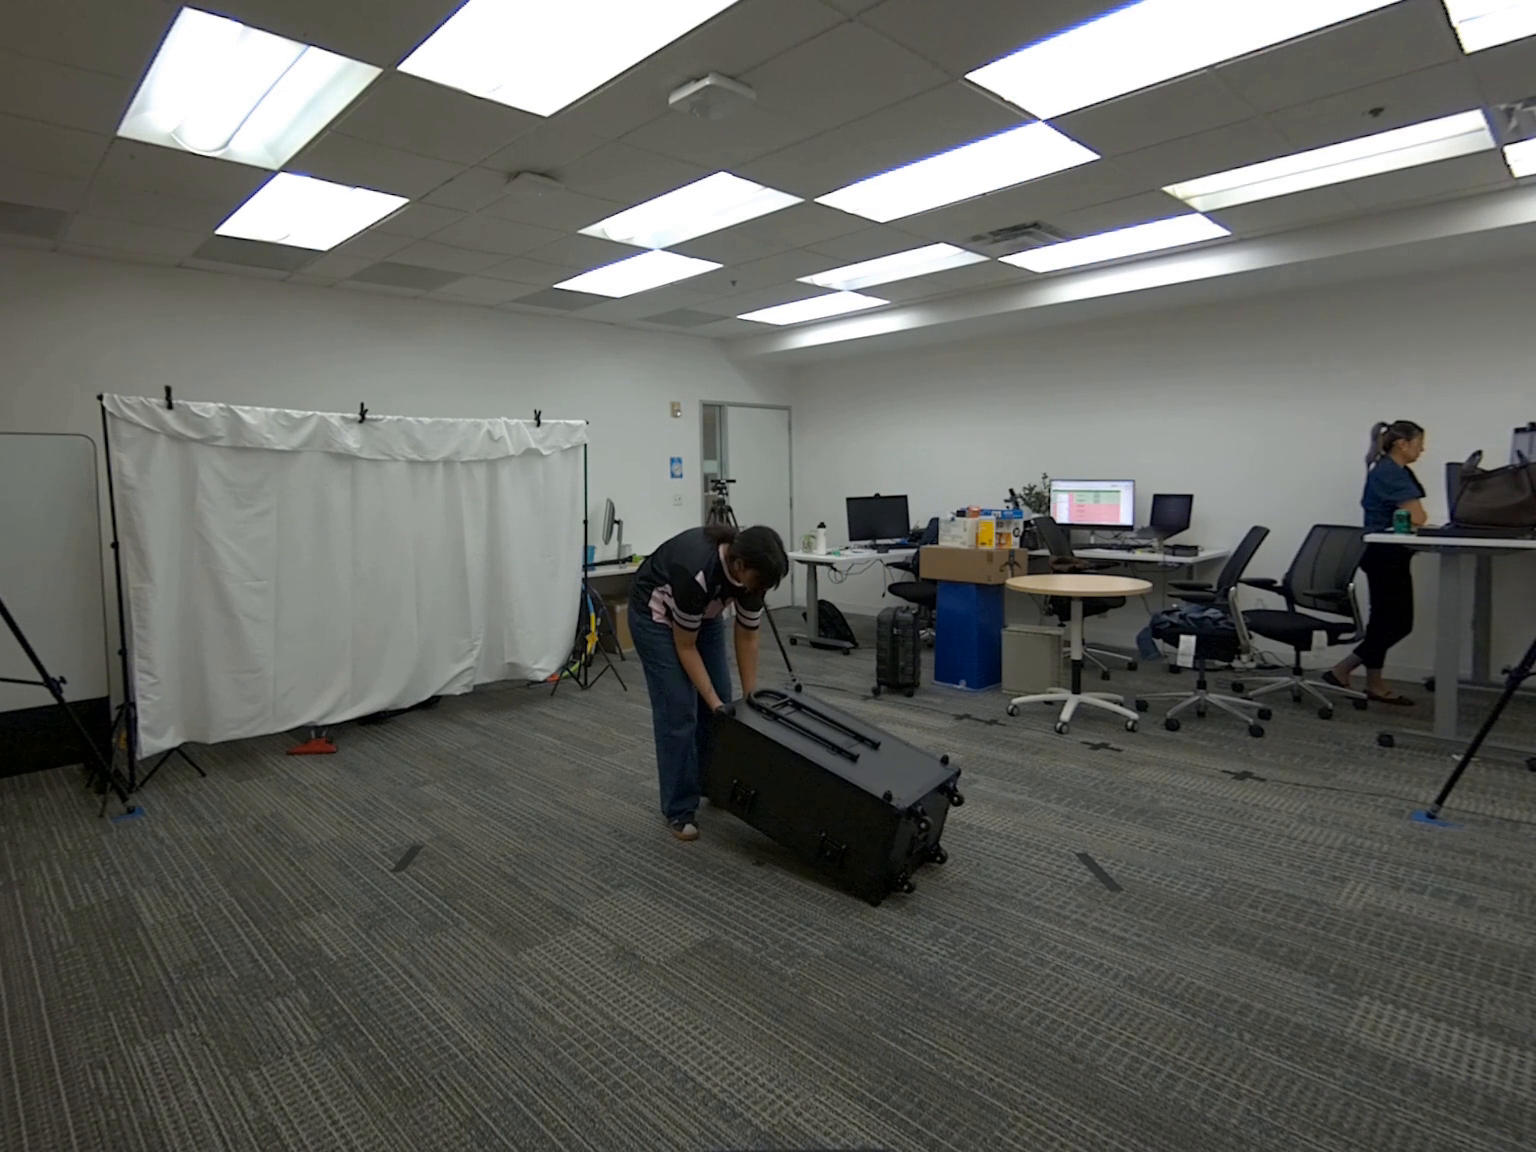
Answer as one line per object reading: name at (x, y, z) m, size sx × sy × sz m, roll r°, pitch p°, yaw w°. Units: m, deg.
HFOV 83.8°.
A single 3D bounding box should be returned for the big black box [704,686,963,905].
big black box at (0.252, 0.765, 3.131) m, size 0.899 × 0.382 × 0.510 m, roll 22°, pitch 16°, yaw 33°
